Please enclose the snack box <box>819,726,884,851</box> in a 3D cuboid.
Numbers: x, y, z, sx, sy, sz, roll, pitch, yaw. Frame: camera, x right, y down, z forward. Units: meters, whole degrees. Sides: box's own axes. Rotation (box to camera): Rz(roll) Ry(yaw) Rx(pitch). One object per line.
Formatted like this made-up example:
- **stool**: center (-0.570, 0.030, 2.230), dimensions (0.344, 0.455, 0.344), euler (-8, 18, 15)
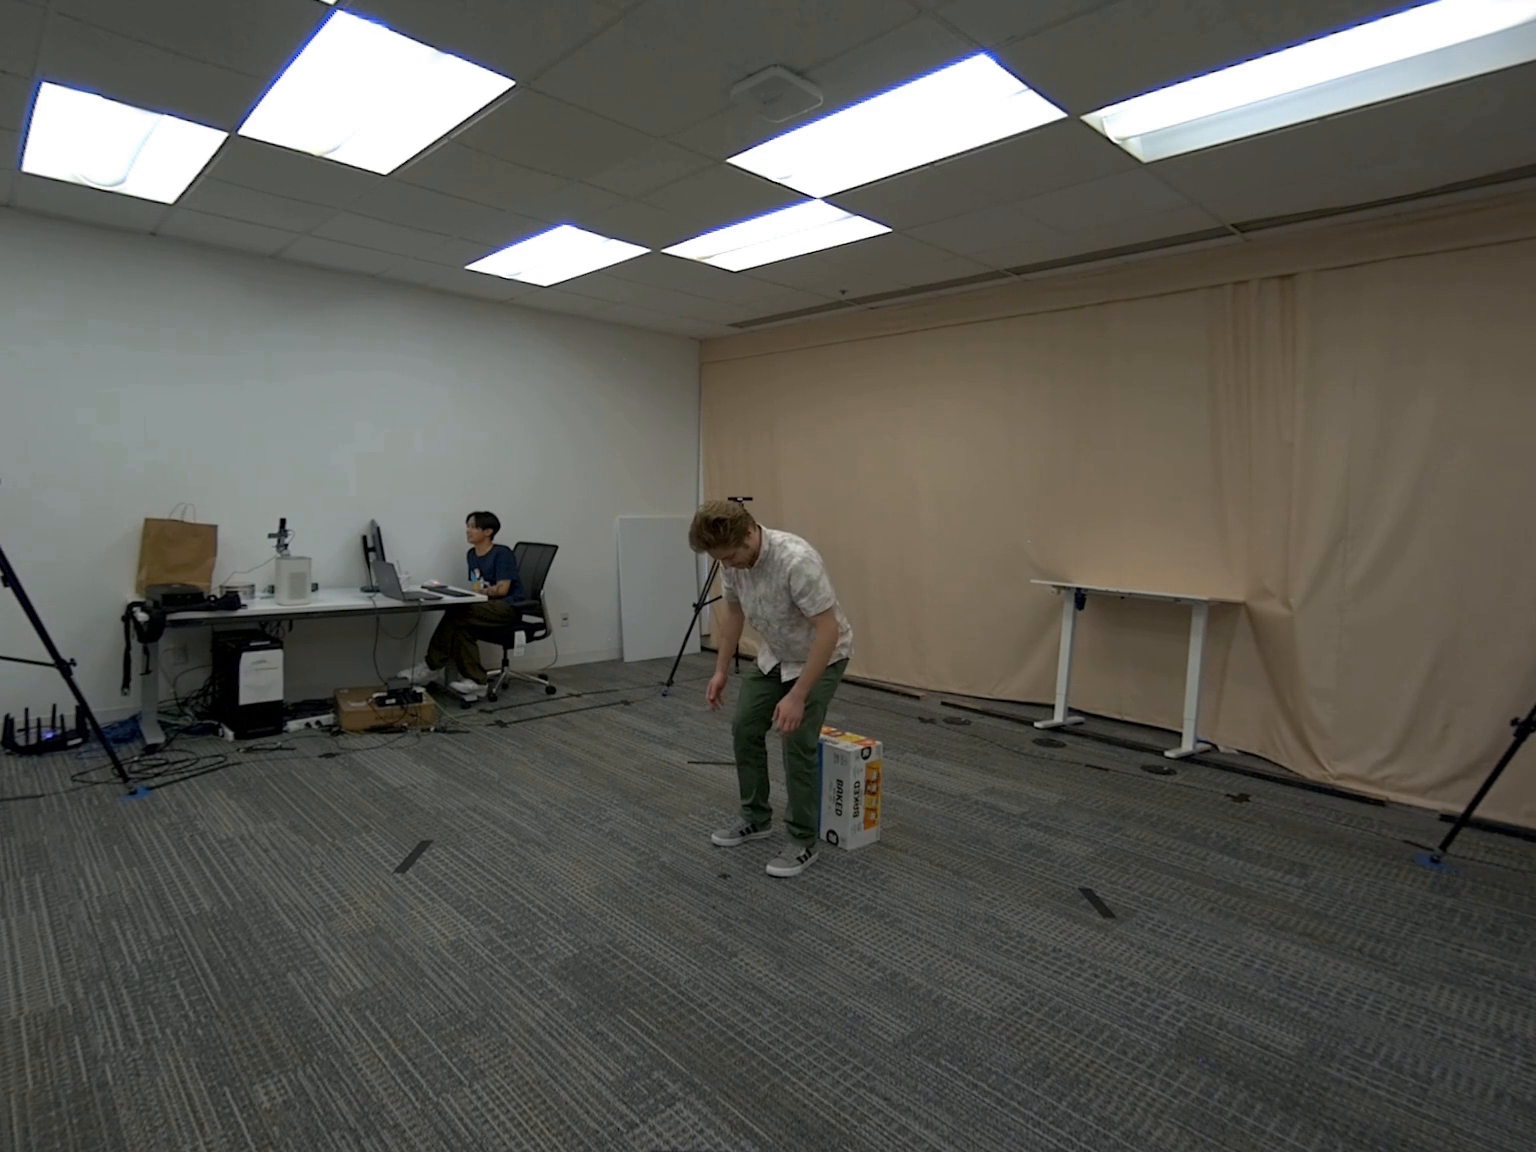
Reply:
- **snack box**: center (0.277, 0.879, 3.539), dimensions (0.201, 0.404, 0.349), euler (-1, 4, -41)
